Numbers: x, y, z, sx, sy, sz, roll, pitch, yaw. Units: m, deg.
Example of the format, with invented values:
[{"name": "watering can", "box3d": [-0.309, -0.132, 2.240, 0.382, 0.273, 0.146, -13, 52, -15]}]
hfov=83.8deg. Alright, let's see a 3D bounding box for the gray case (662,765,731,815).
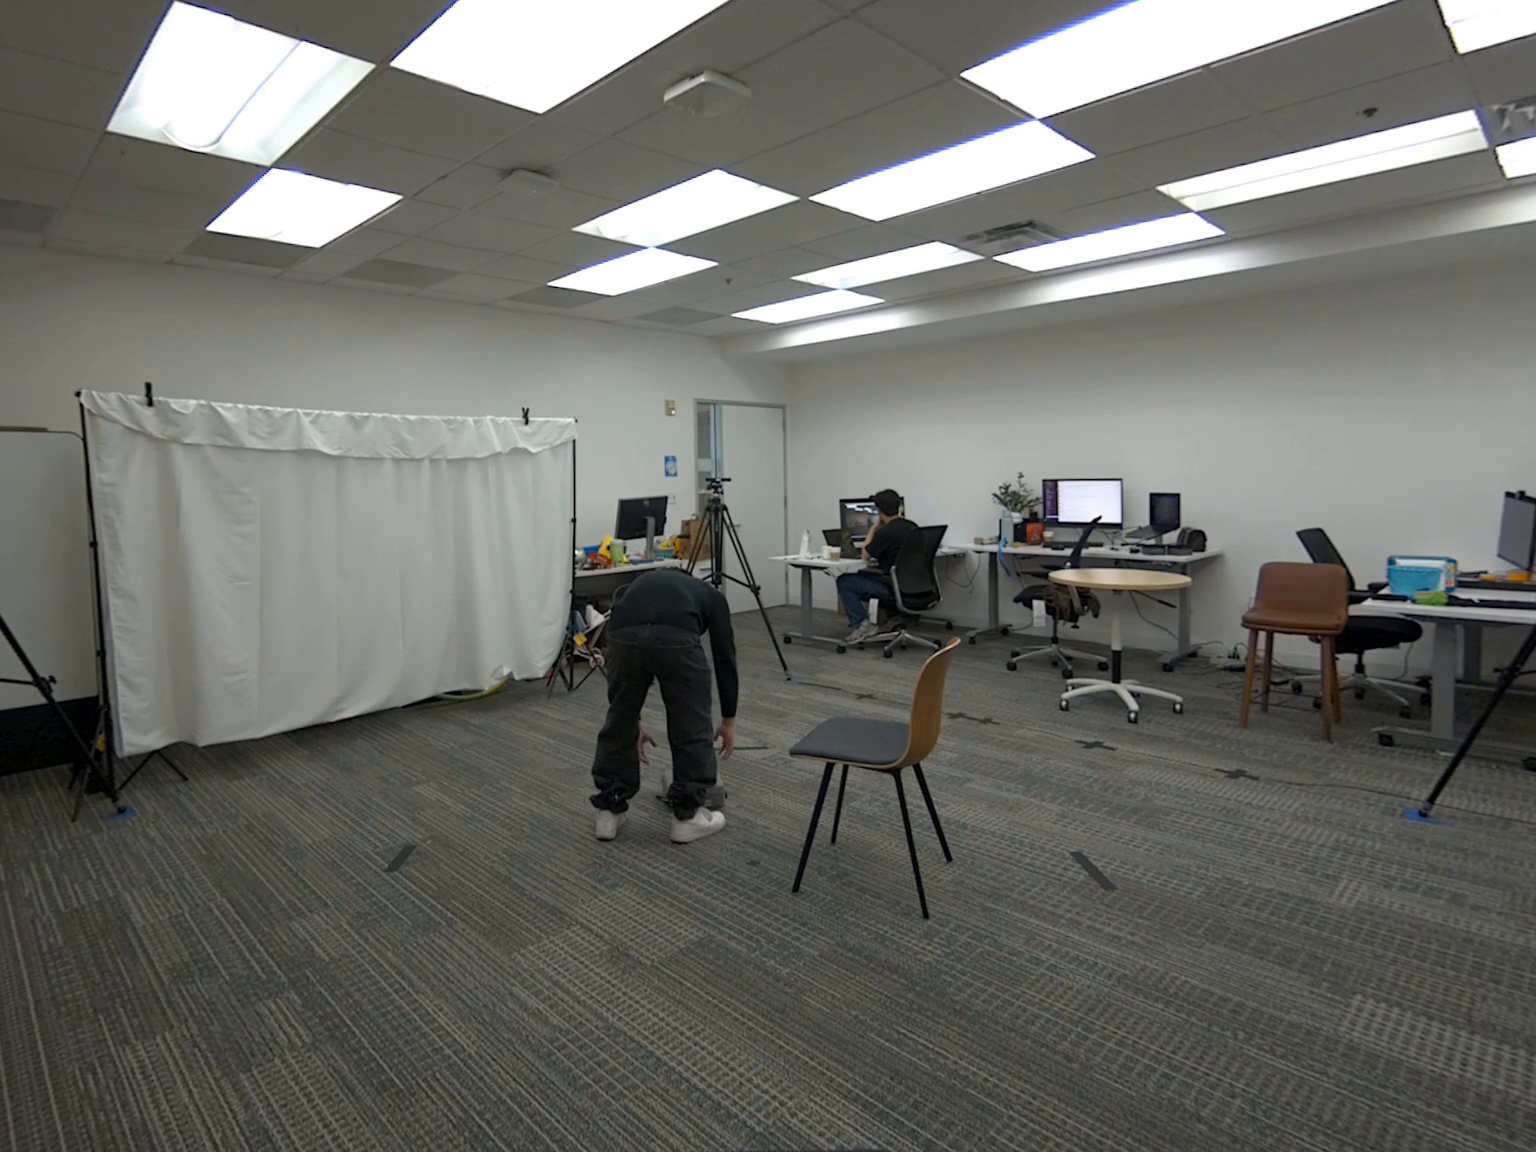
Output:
[{"name": "gray case", "box3d": [-0.318, 0.921, 3.720, 0.254, 0.104, 0.264, -2, 6, -11]}]
